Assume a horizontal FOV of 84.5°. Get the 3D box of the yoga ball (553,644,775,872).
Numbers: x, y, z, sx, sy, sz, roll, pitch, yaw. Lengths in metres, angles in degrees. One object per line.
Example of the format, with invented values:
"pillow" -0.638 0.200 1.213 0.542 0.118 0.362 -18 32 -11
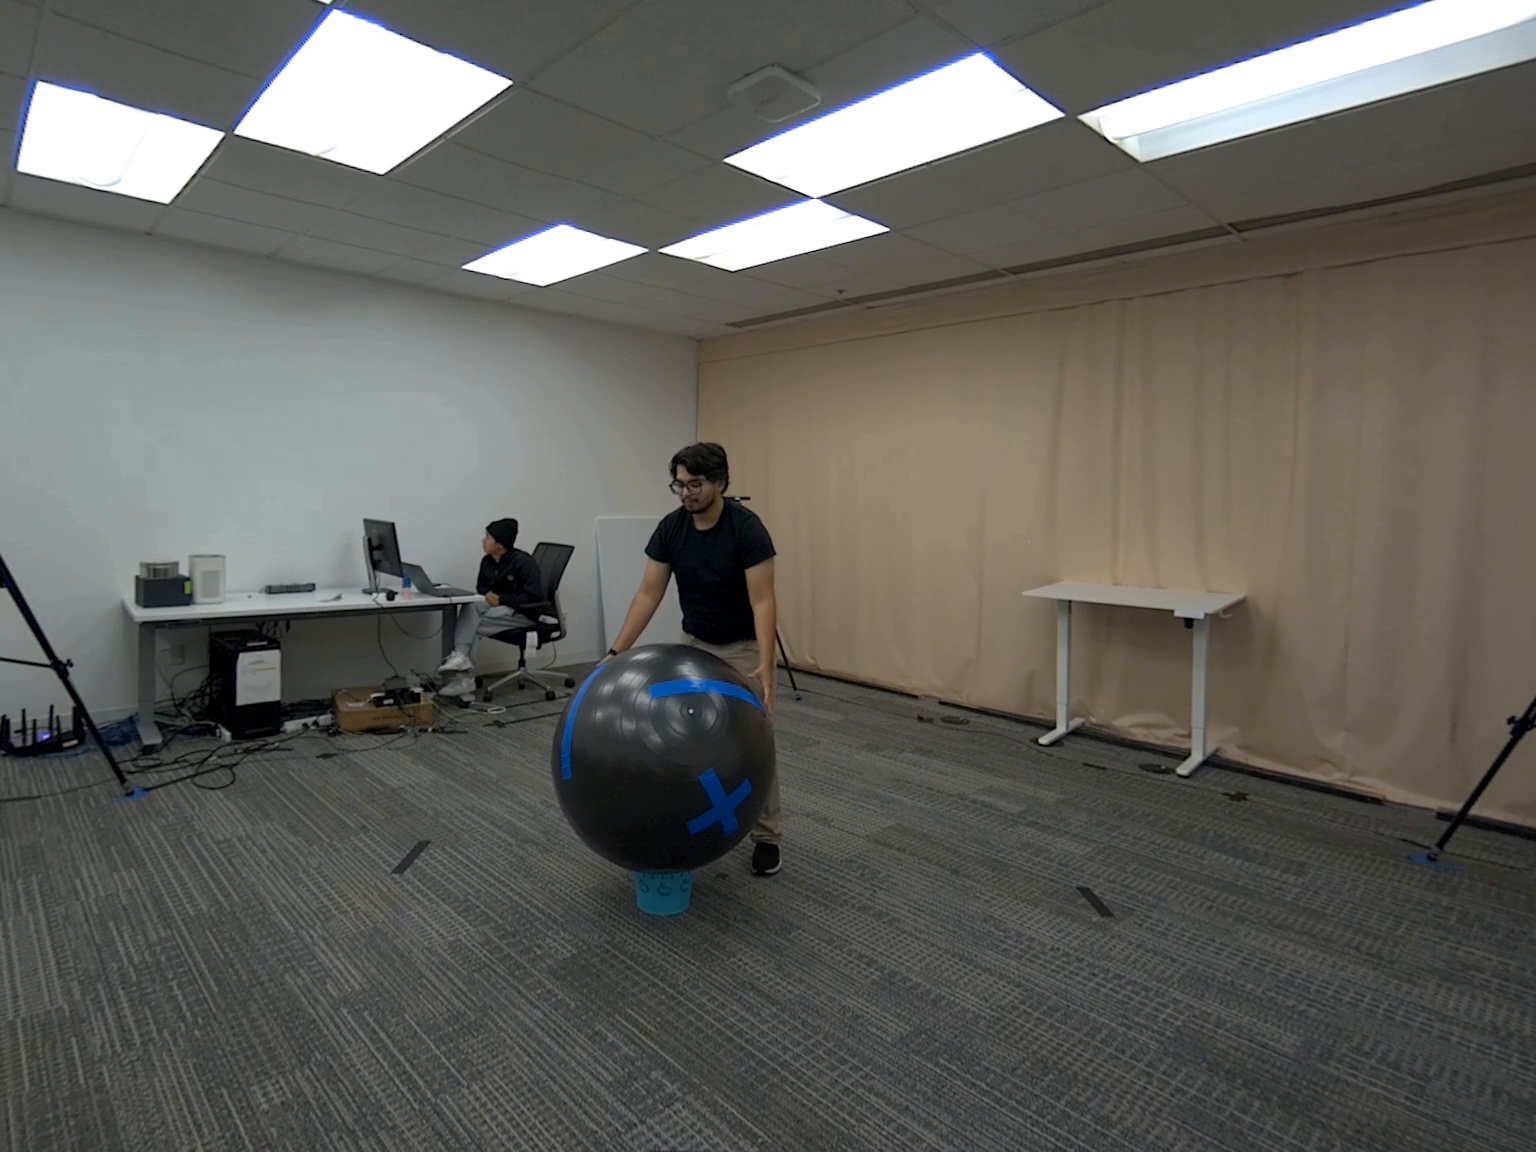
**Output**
"yoga ball" -0.360 0.619 2.855 0.757 0.756 0.761 1 4 -1
